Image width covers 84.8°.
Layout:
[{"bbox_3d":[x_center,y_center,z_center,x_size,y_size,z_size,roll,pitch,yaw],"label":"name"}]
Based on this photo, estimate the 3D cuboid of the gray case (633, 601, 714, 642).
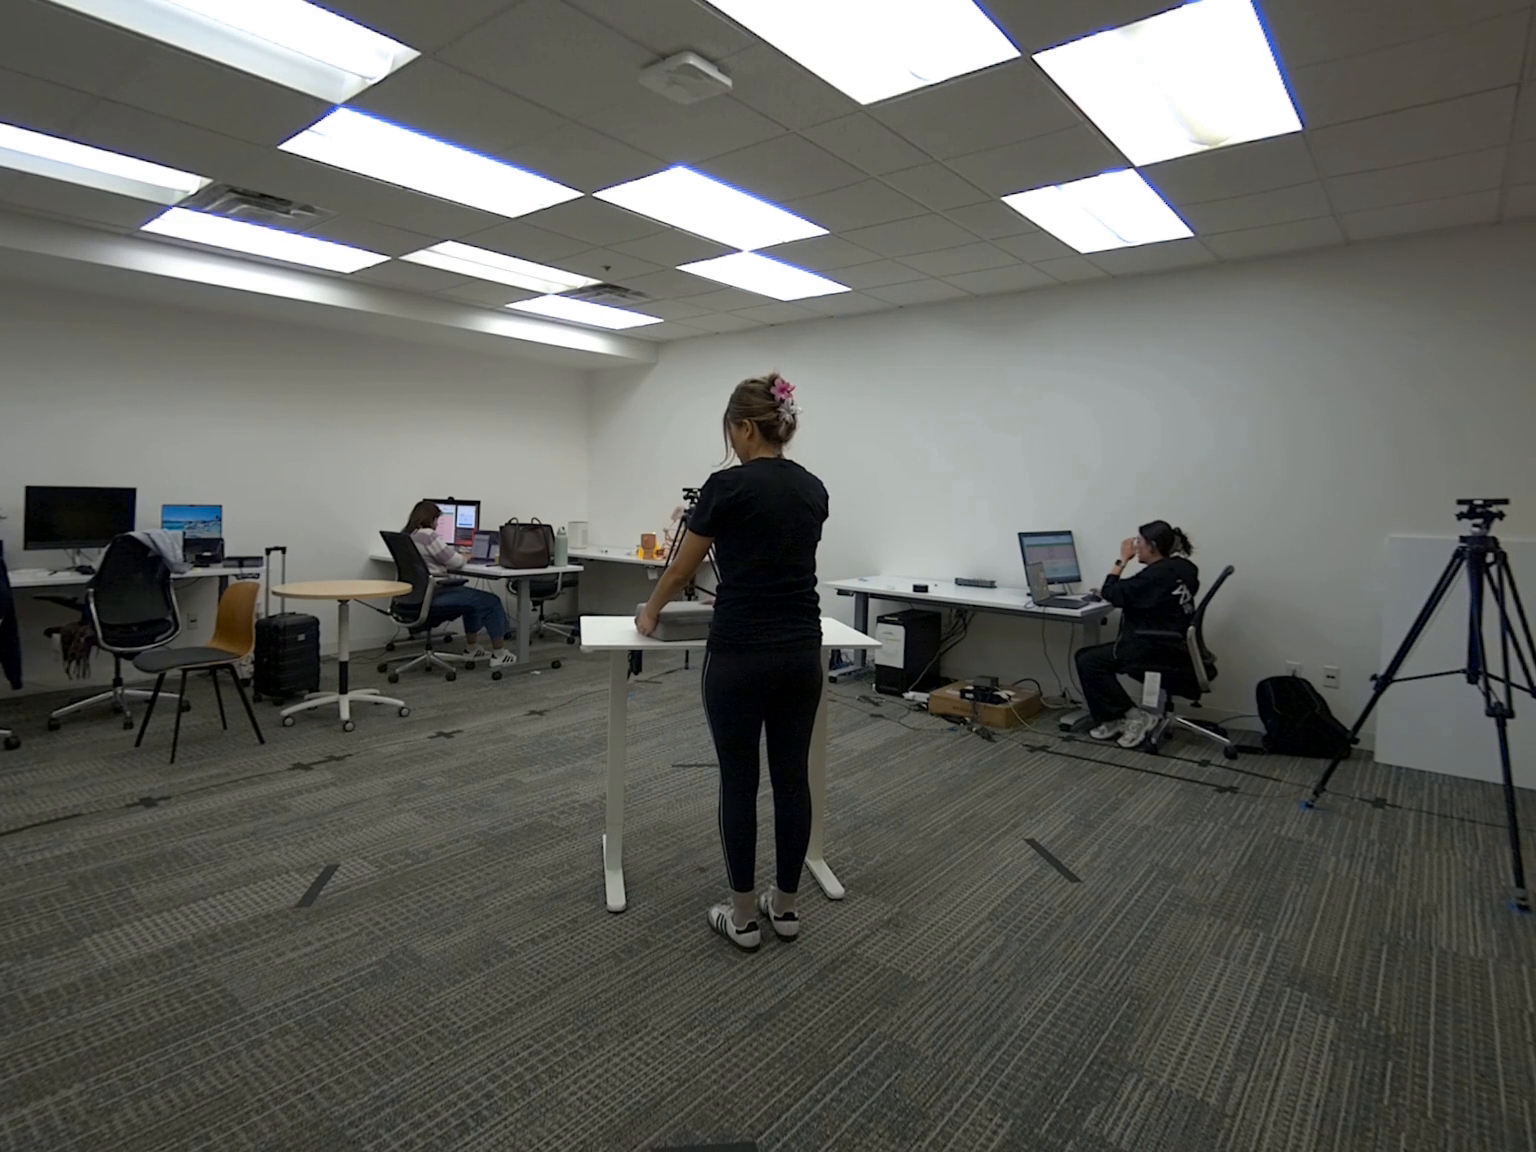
[{"bbox_3d":[-0.319,0.152,2.942,0.250,0.104,0.268,-2,5,-29],"label":"gray case"}]
